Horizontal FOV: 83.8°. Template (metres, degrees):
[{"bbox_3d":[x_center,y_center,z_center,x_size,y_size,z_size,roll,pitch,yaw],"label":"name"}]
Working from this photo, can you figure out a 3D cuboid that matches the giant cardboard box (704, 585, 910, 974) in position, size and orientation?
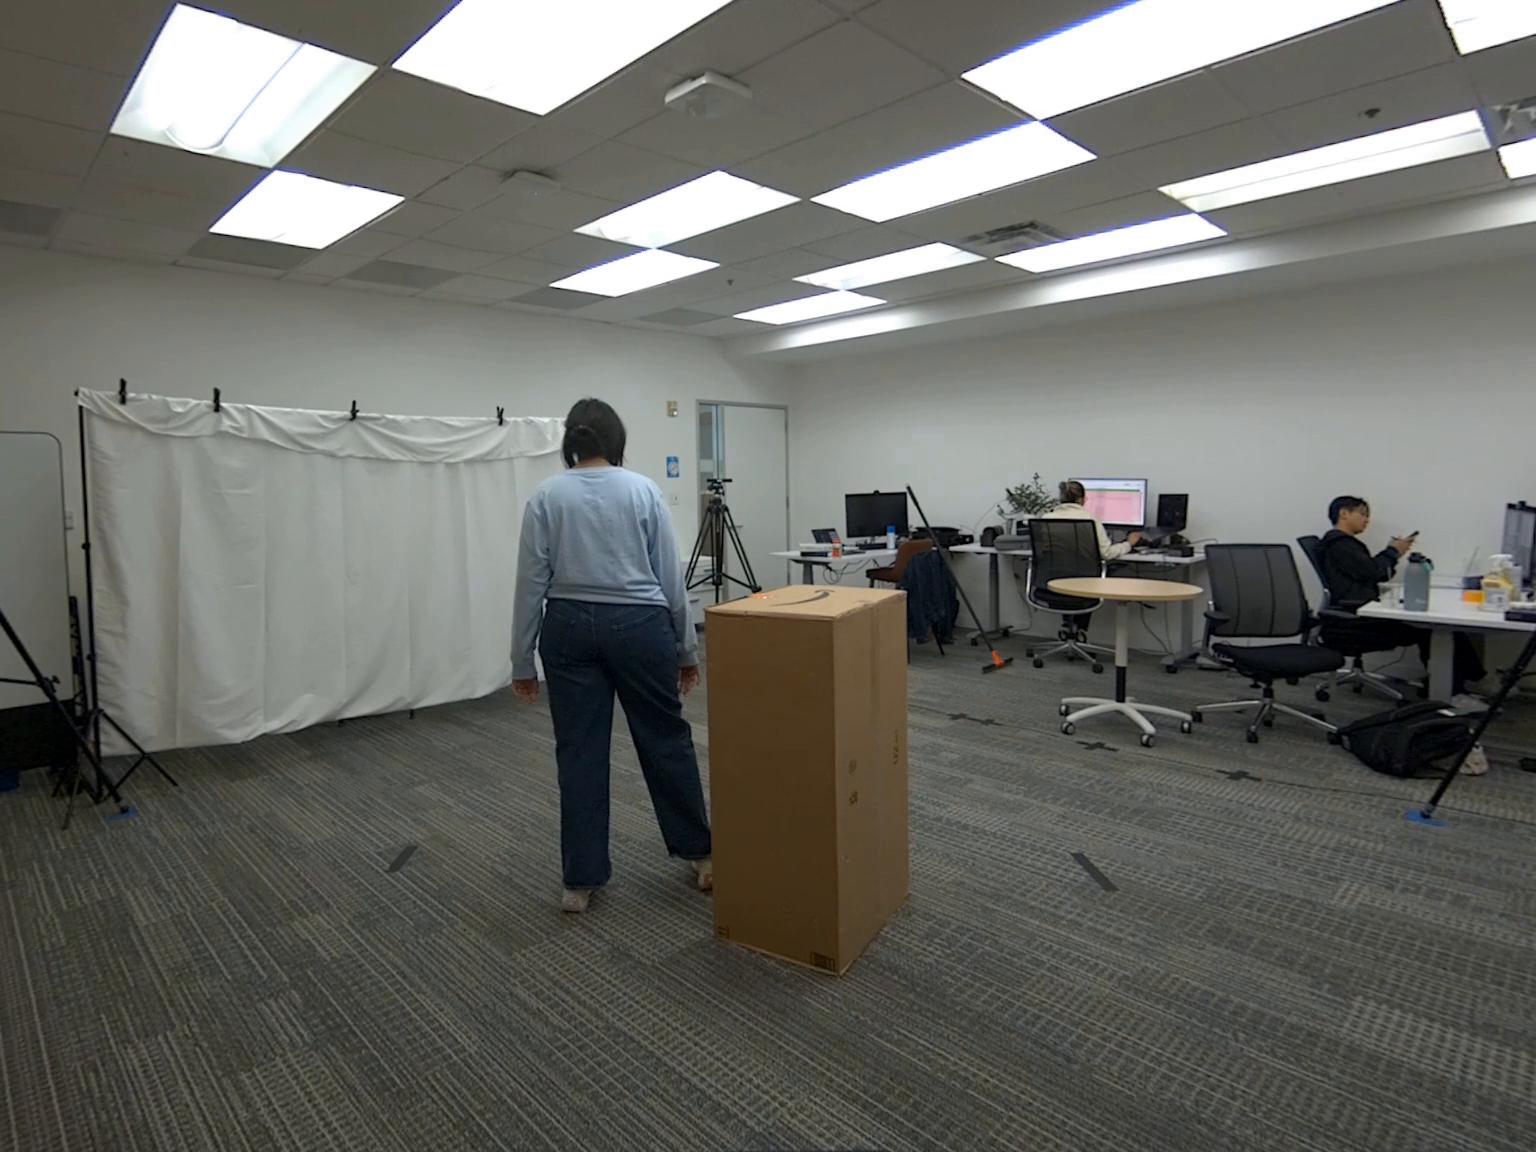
[{"bbox_3d":[0.140,0.578,2.701,0.438,1.022,0.564,1,5,31],"label":"giant cardboard box"}]
